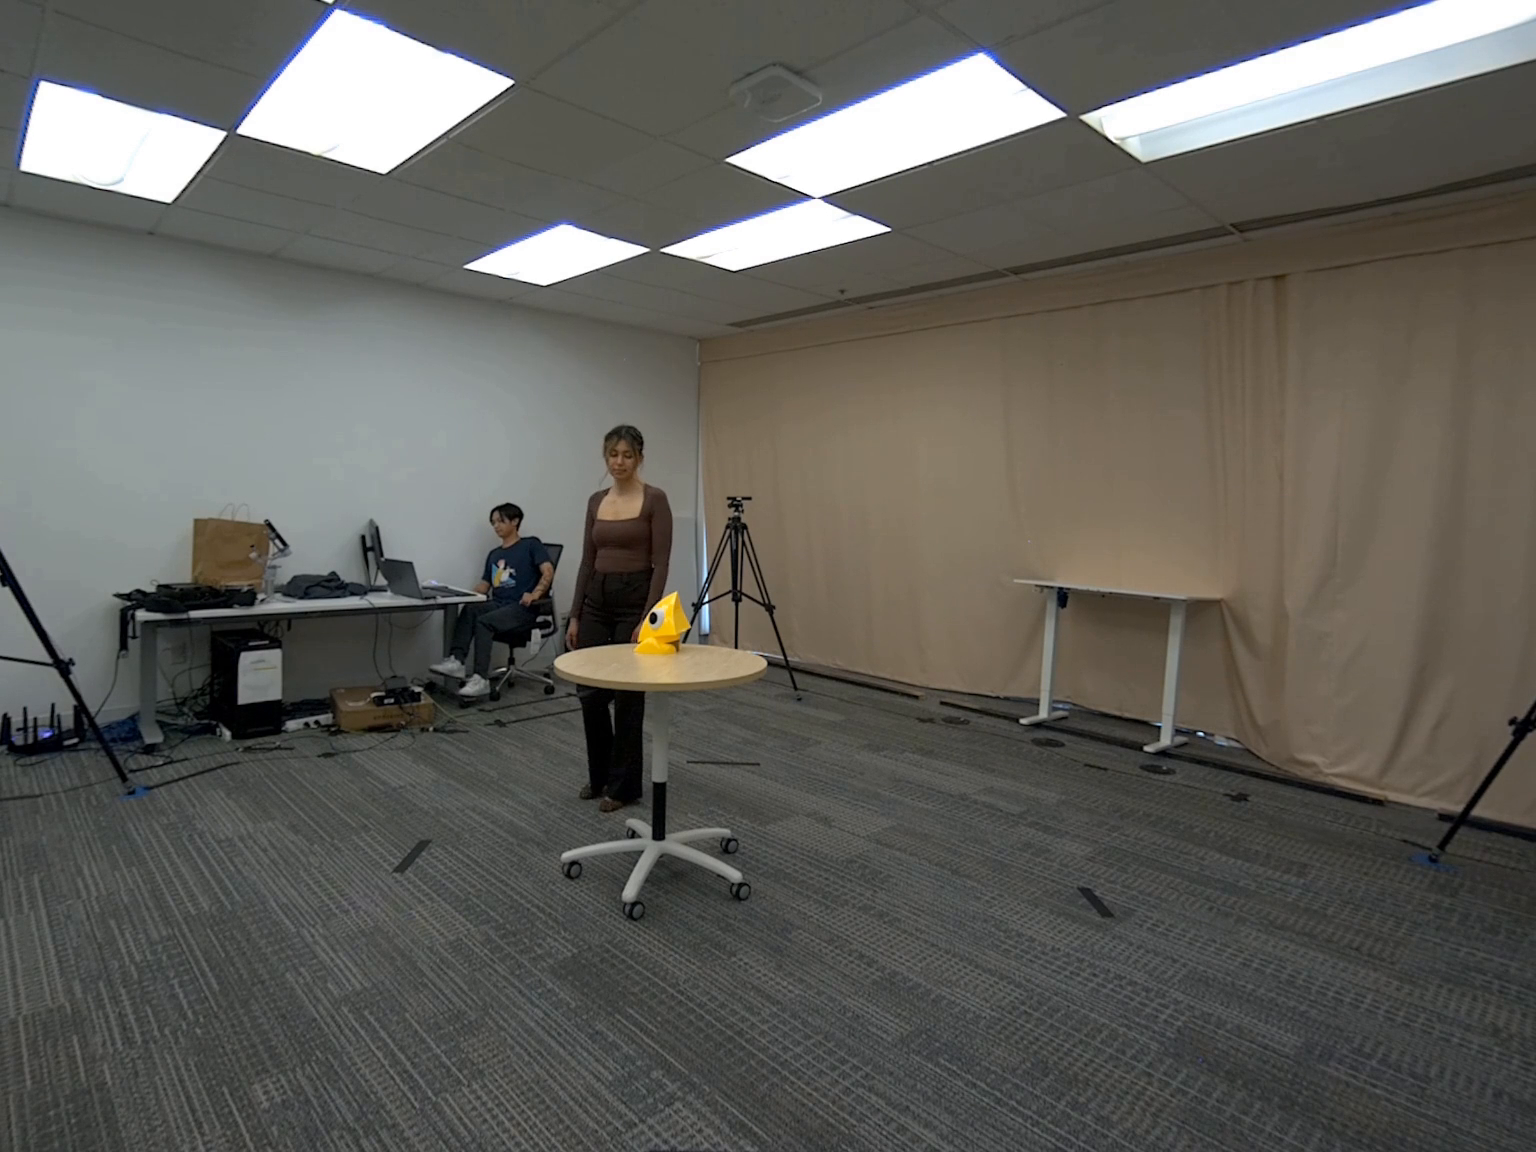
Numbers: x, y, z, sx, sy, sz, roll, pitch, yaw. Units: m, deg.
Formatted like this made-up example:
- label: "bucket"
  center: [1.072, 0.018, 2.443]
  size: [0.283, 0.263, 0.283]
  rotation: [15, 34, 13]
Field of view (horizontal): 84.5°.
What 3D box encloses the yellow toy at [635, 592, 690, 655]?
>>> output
- label: "yellow toy"
  center: [-0.418, 0.173, 3.270]
  size: [0.195, 0.230, 0.203]
  rotation: [3, 4, 13]
